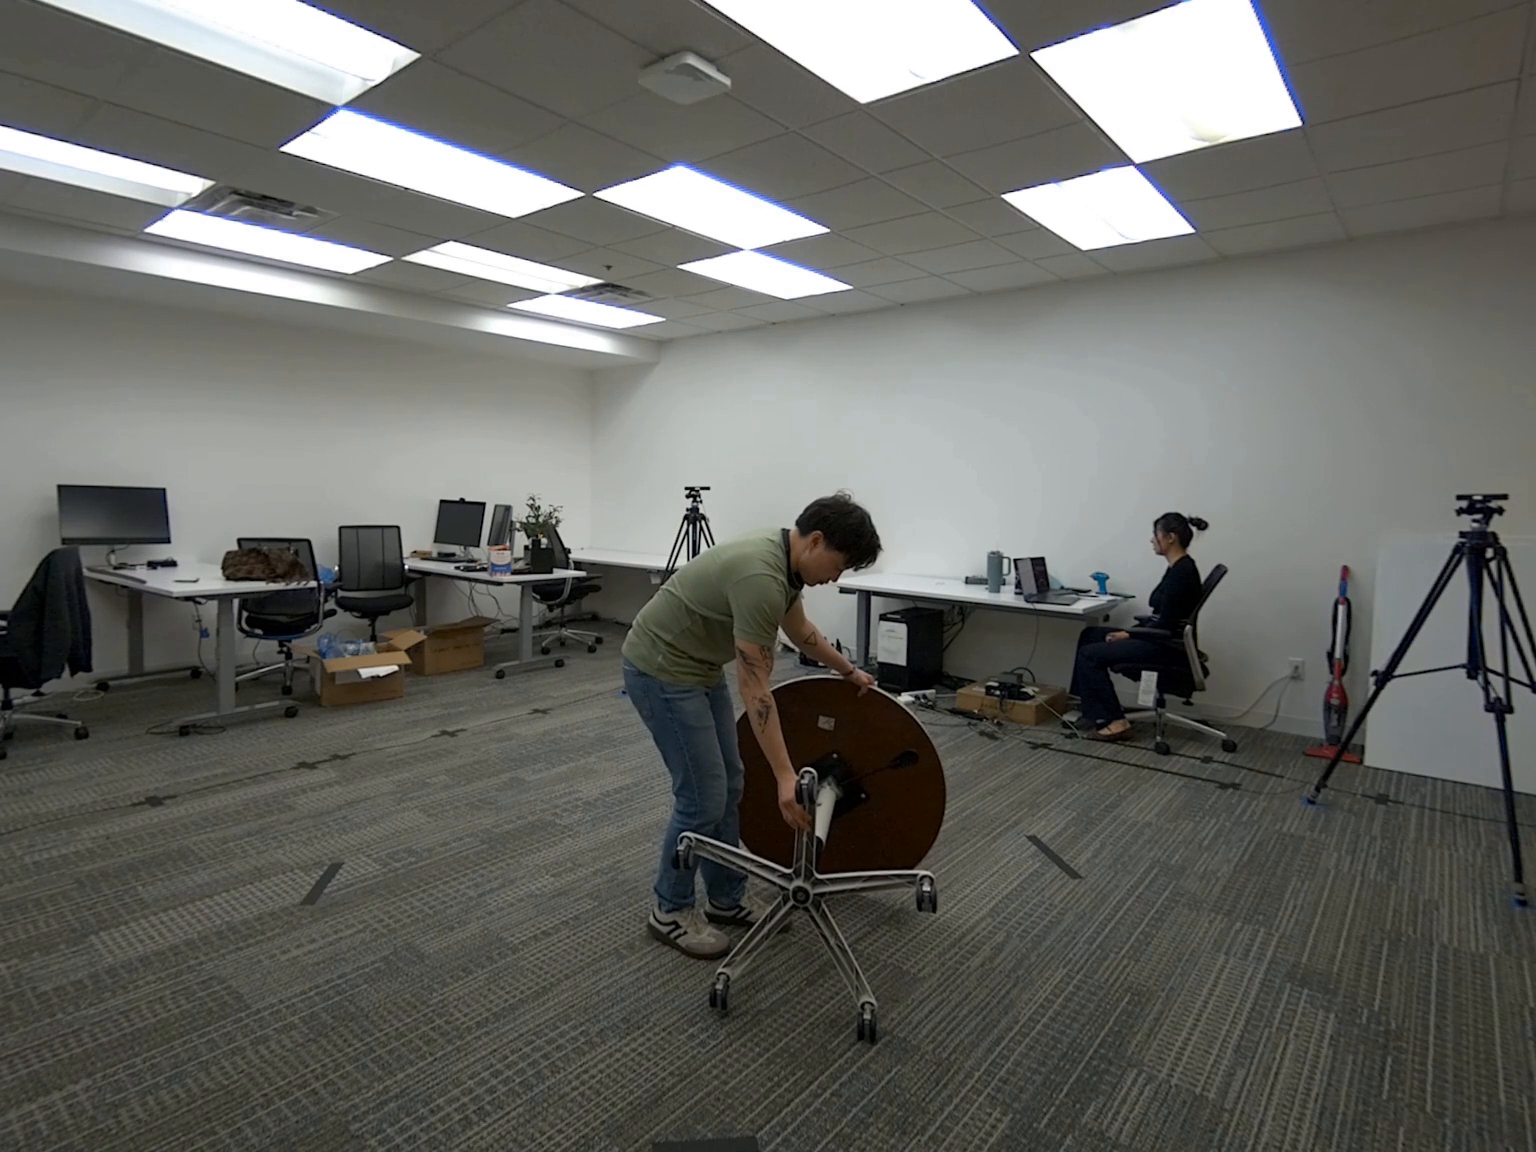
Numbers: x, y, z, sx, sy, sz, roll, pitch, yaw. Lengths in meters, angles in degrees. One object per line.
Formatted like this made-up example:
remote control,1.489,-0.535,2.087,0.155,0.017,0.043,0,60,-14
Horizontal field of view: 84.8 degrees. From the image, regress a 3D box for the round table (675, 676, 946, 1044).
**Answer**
round table,0.138,0.785,2.525,0.775,0.757,0.790,2,10,12
